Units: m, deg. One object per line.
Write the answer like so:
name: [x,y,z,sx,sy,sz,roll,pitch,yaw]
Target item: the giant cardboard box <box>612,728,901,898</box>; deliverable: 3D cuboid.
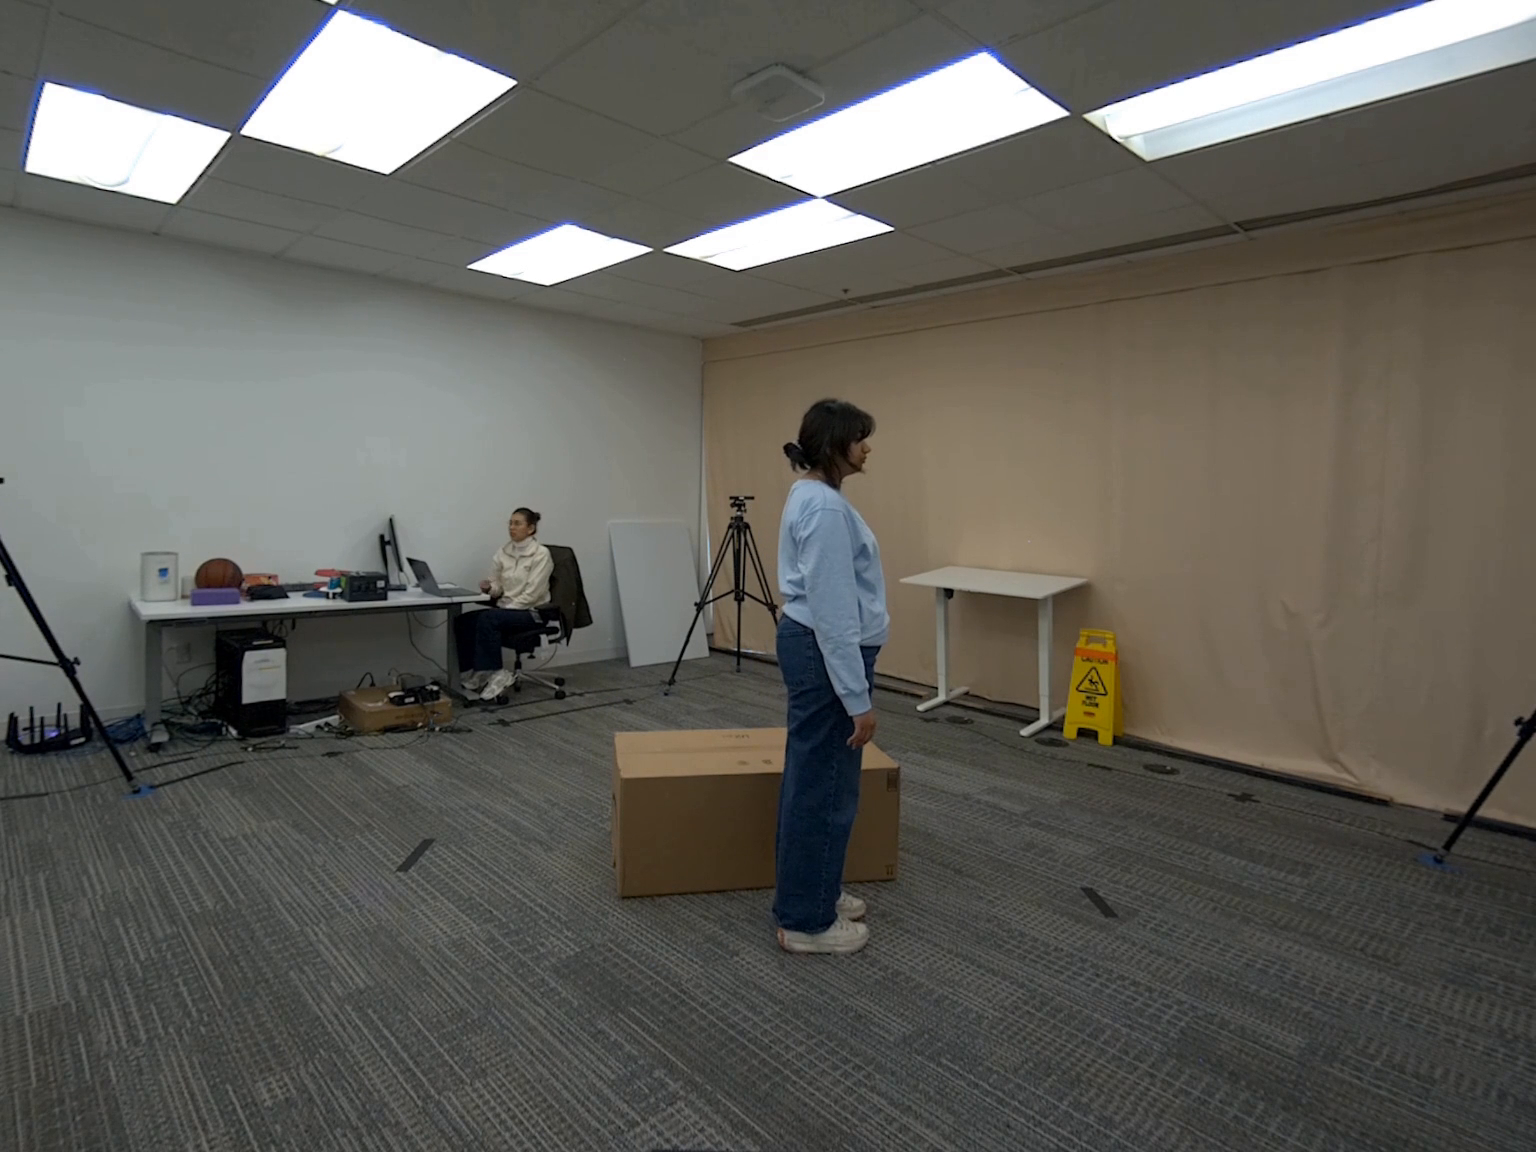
giant cardboard box: [-0.085,0.877,3.268,1.017,0.425,0.584,0,5,-11]
